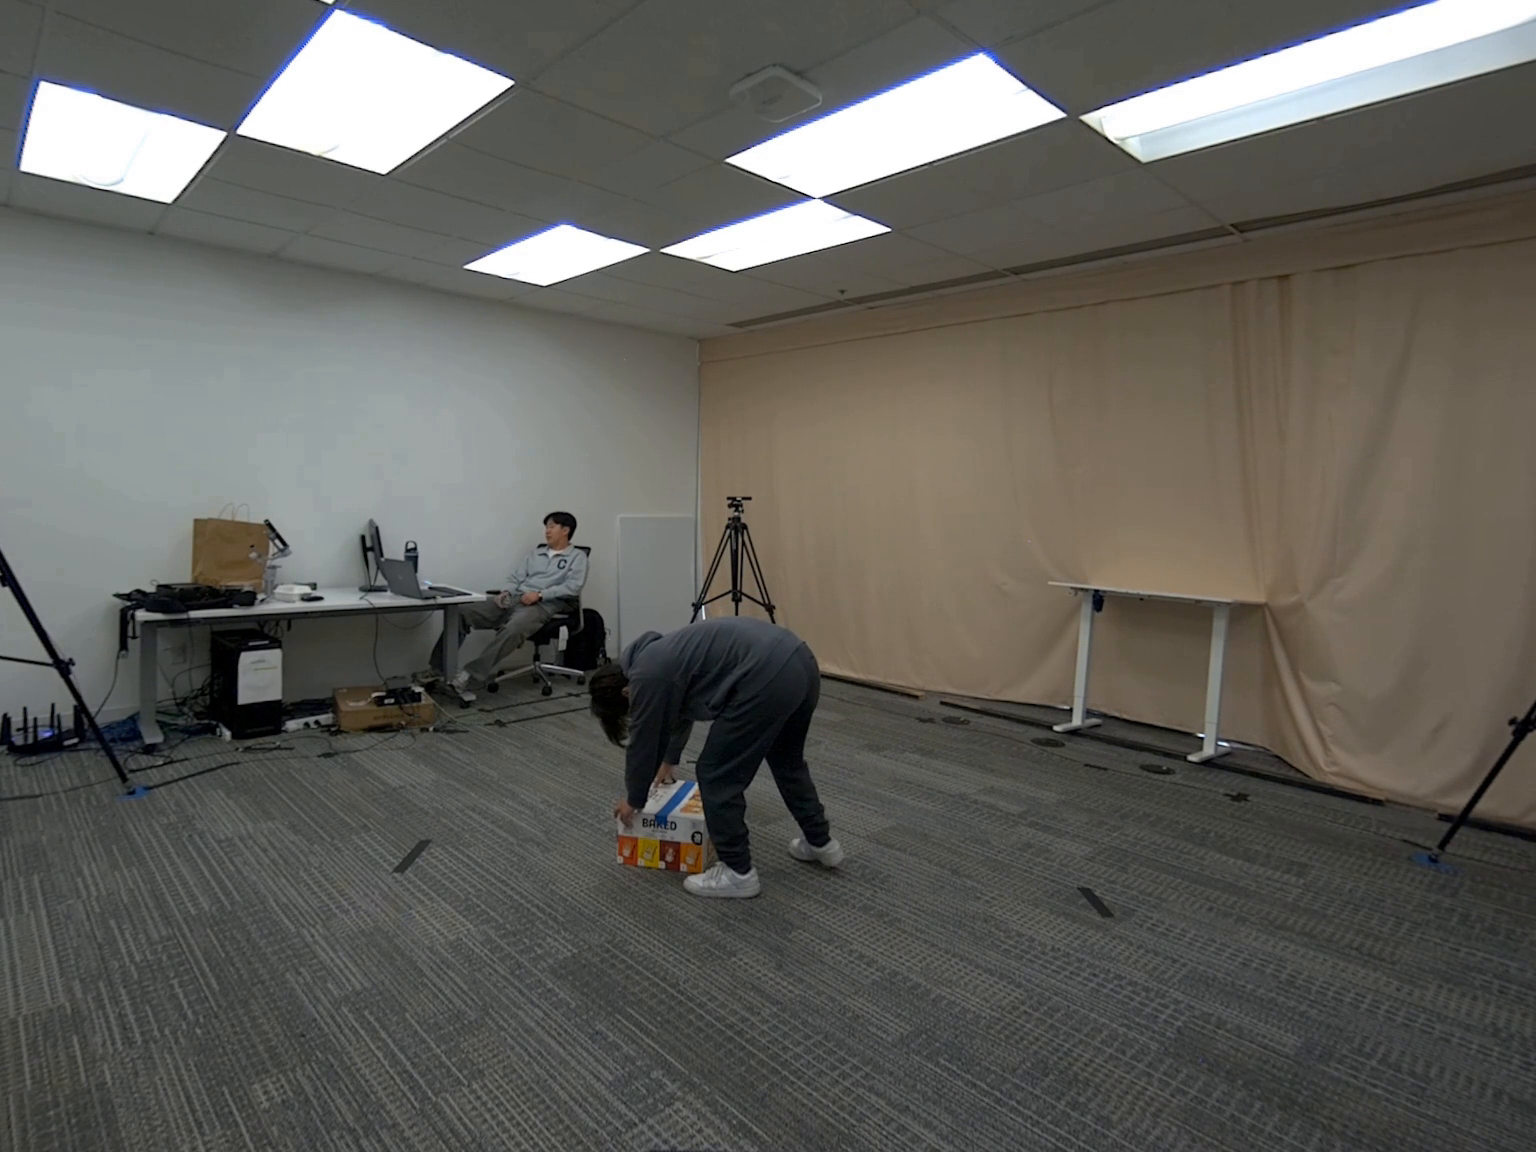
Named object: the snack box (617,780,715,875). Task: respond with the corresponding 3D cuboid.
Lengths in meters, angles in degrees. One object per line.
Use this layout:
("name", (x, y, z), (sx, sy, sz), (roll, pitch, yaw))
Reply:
("snack box", (-0.374, 0.981, 3.340), (0.344, 0.205, 0.402), (3, 5, 12))
